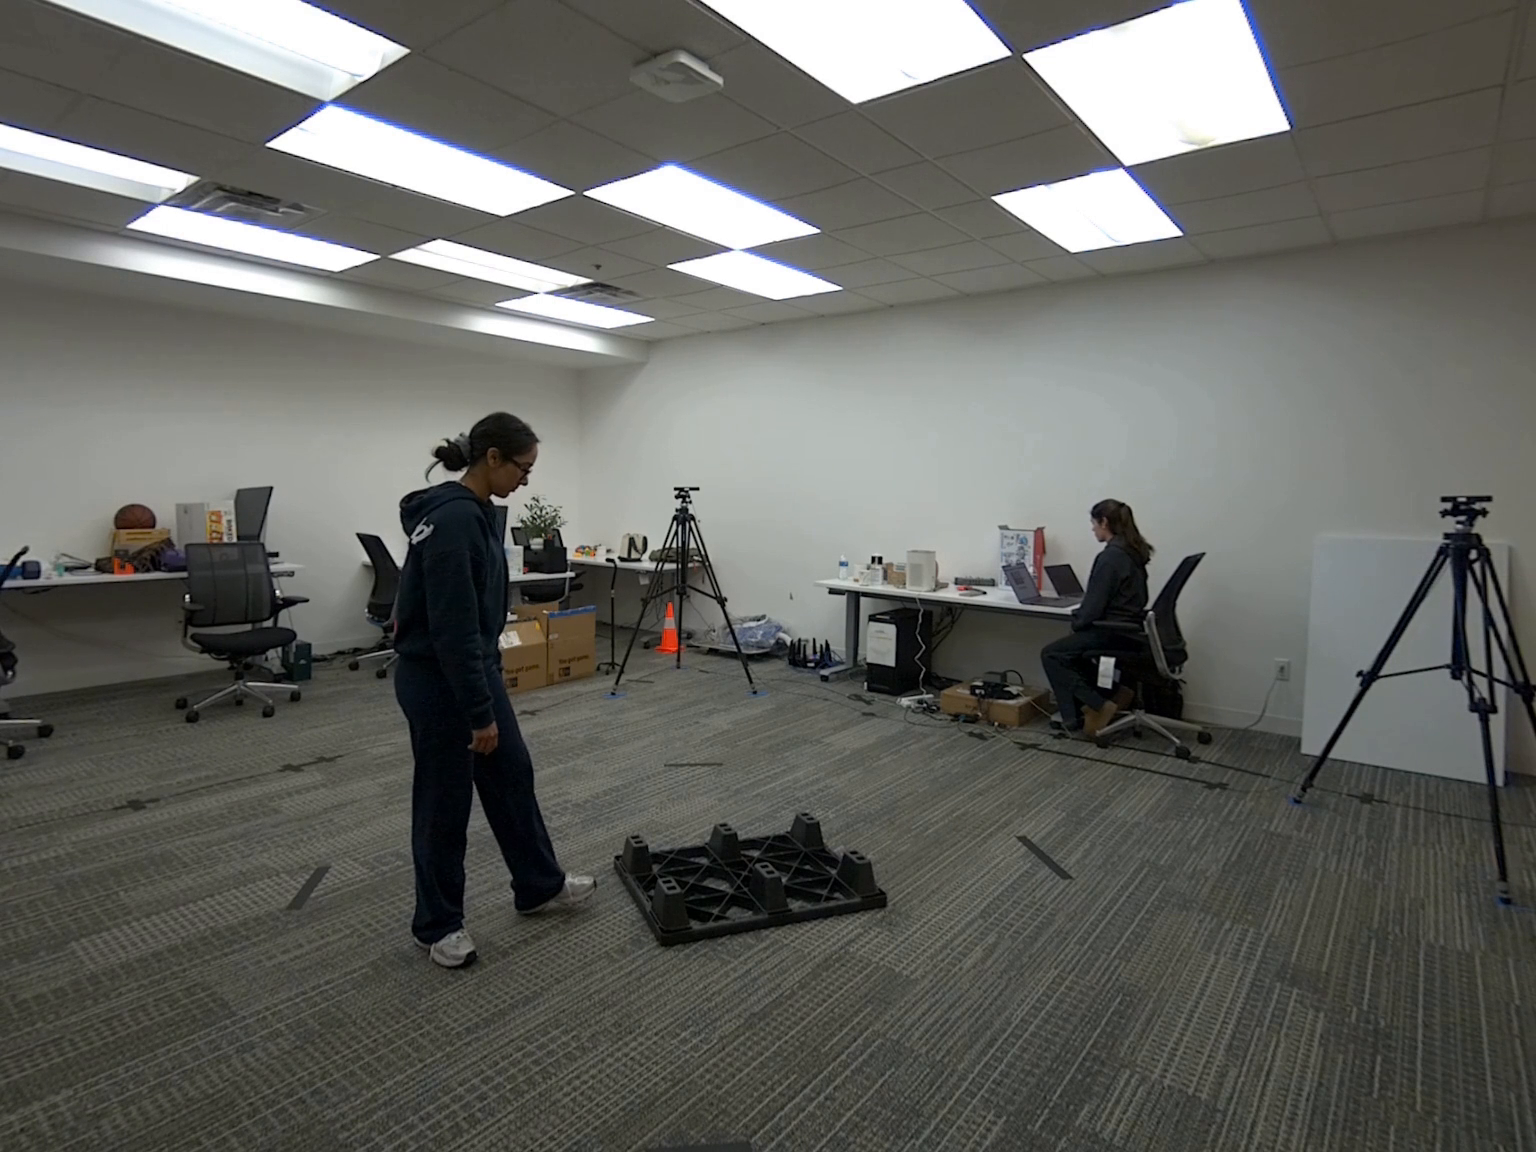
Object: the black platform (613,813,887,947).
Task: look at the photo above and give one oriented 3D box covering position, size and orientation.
[{"bbox_3d":[-0.088,1.011,2.982,0.788,0.143,0.621,-1,6,-23],"label":"black platform"}]
